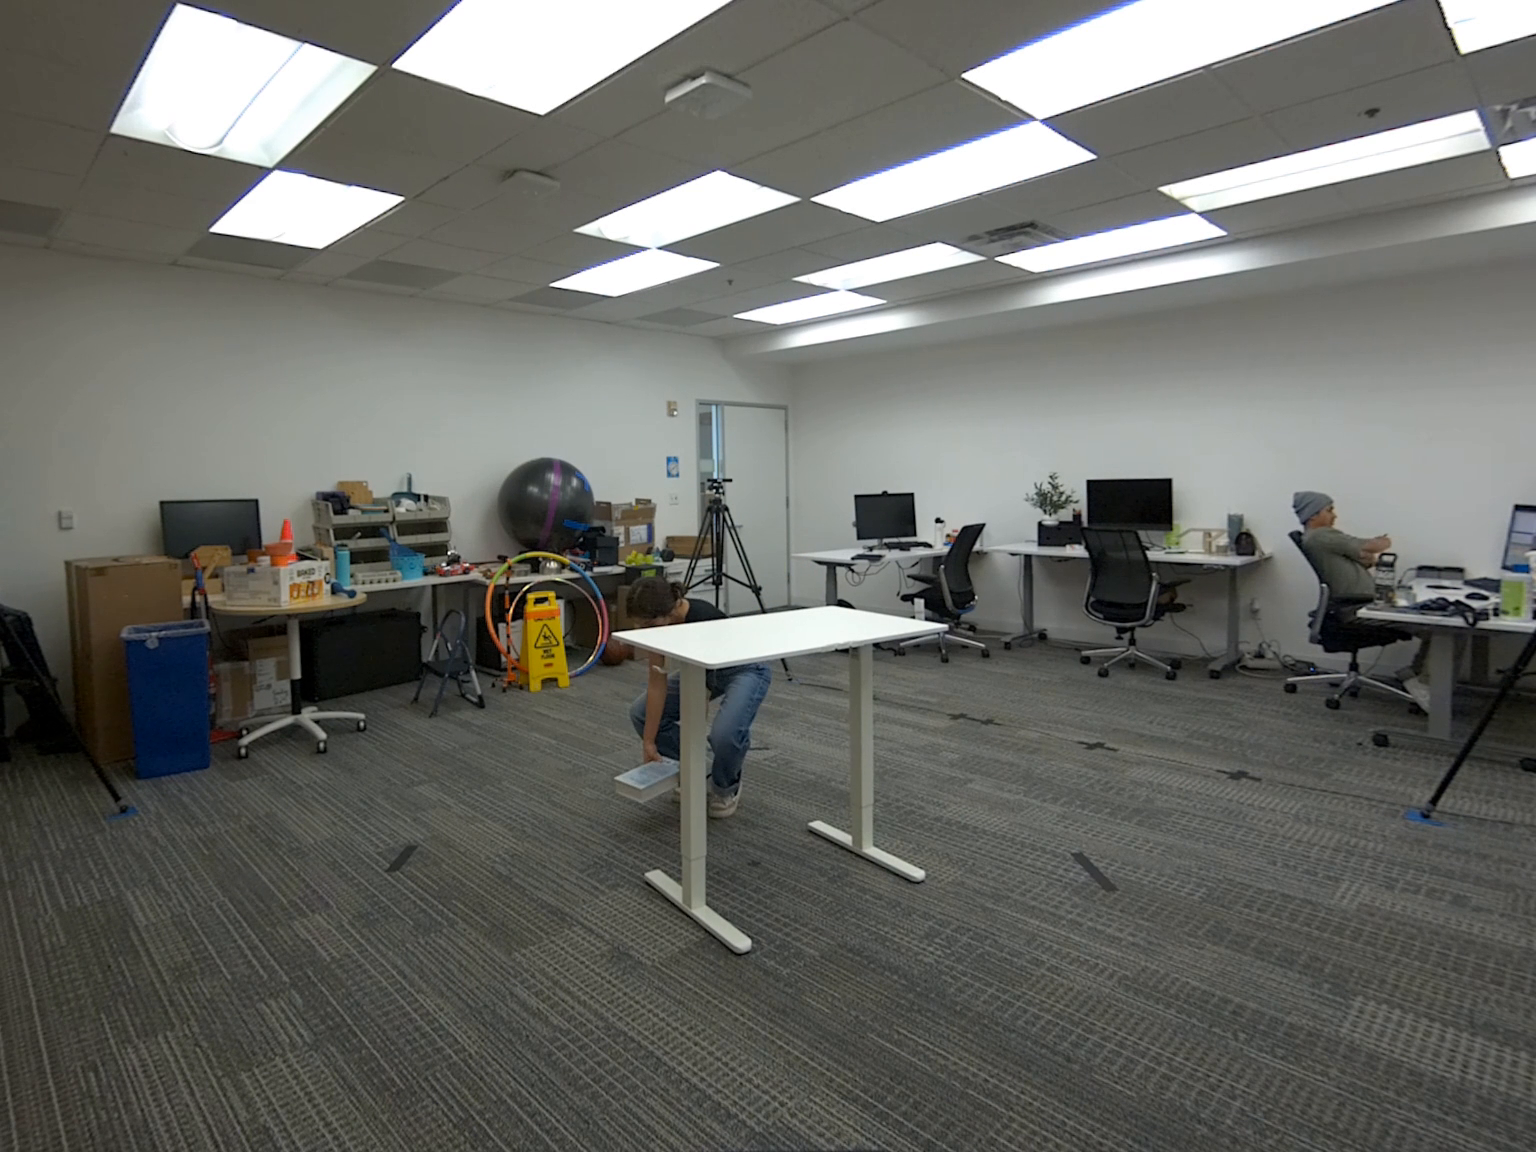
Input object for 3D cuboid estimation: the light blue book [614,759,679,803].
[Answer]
[{"bbox_3d":[-0.472,0.825,3.470,0.197,0.058,0.255,3,13,45],"label":"light blue book"}]
